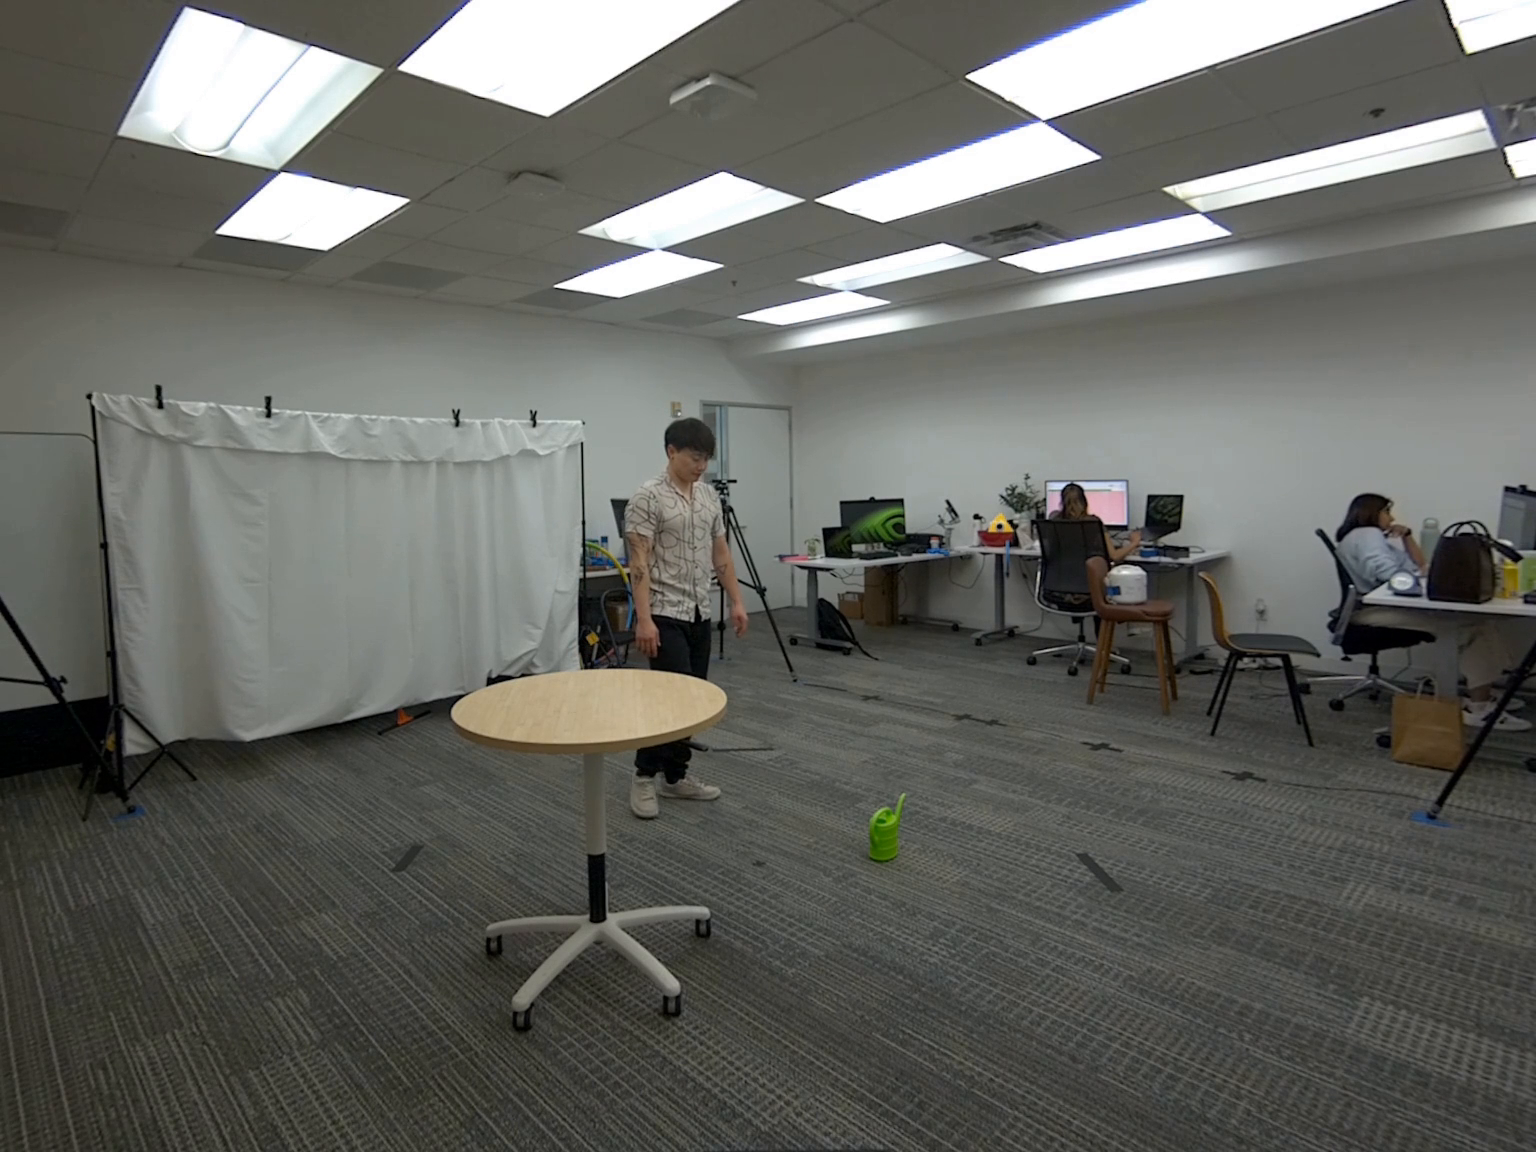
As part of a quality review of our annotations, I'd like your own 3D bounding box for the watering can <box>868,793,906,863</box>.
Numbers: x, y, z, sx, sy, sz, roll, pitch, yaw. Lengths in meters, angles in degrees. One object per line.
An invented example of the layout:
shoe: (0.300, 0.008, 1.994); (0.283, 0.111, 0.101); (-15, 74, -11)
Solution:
watering can: (0.460, 0.935, 3.185); (0.271, 0.176, 0.101); (-7, 6, -40)
